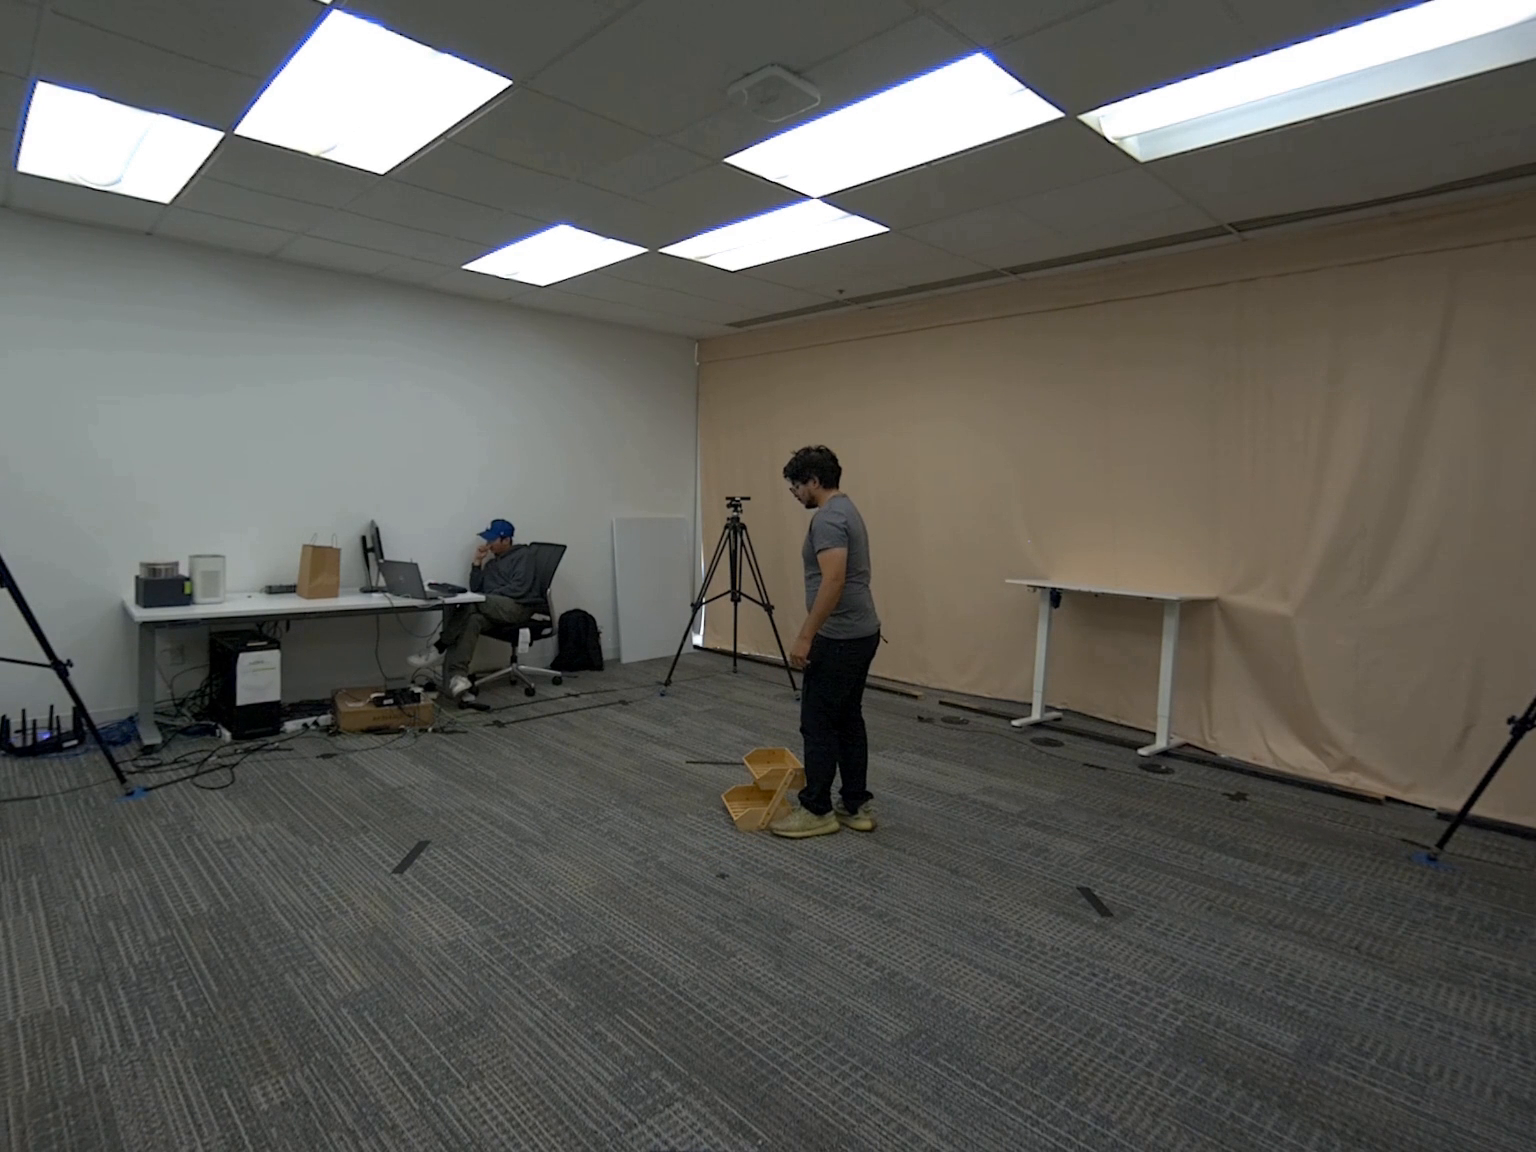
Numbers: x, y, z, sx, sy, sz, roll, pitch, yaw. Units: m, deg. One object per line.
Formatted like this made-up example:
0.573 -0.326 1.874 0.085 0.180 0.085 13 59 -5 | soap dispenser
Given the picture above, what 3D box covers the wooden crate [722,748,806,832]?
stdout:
-0.036 0.919 3.702 0.299 0.273 0.328 1 4 -13 | wooden crate
